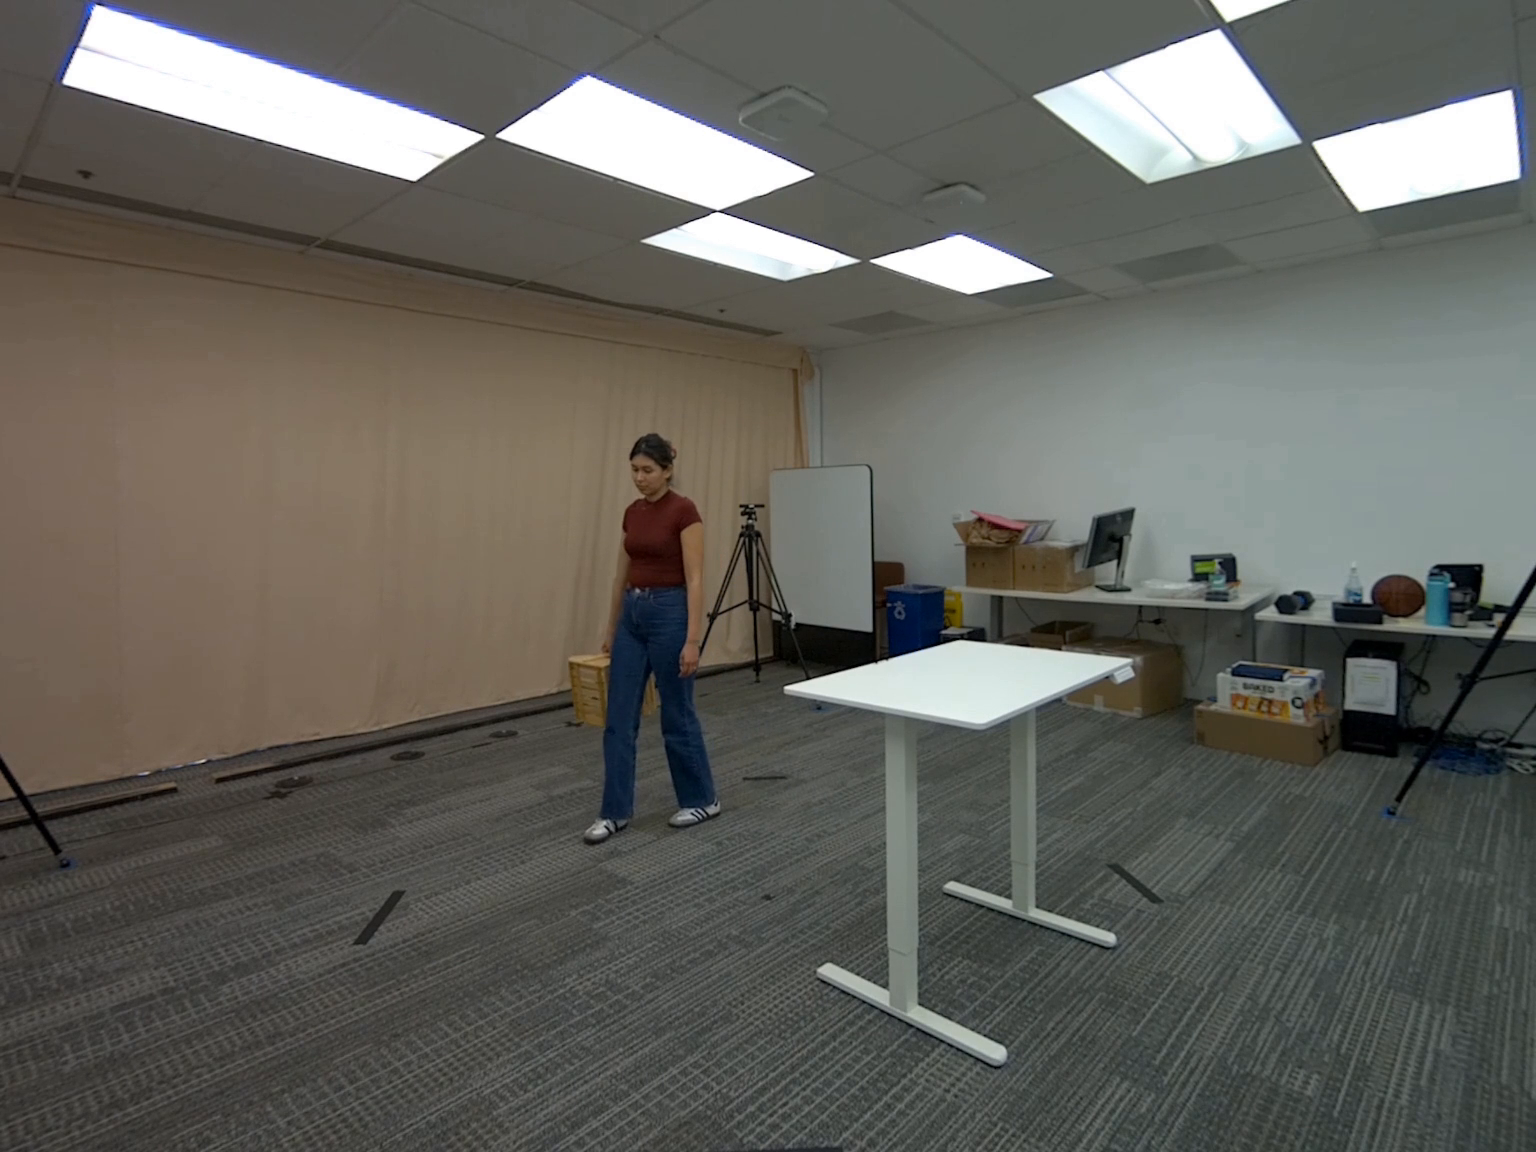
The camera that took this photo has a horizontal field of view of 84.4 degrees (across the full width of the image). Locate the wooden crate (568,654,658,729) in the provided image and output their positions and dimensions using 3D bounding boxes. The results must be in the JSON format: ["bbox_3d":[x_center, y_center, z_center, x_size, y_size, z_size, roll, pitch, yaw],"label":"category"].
[{"bbox_3d":[-0.730,0.499,3.924,0.312,0.321,0.267,7,18,36],"label":"wooden crate"}]
